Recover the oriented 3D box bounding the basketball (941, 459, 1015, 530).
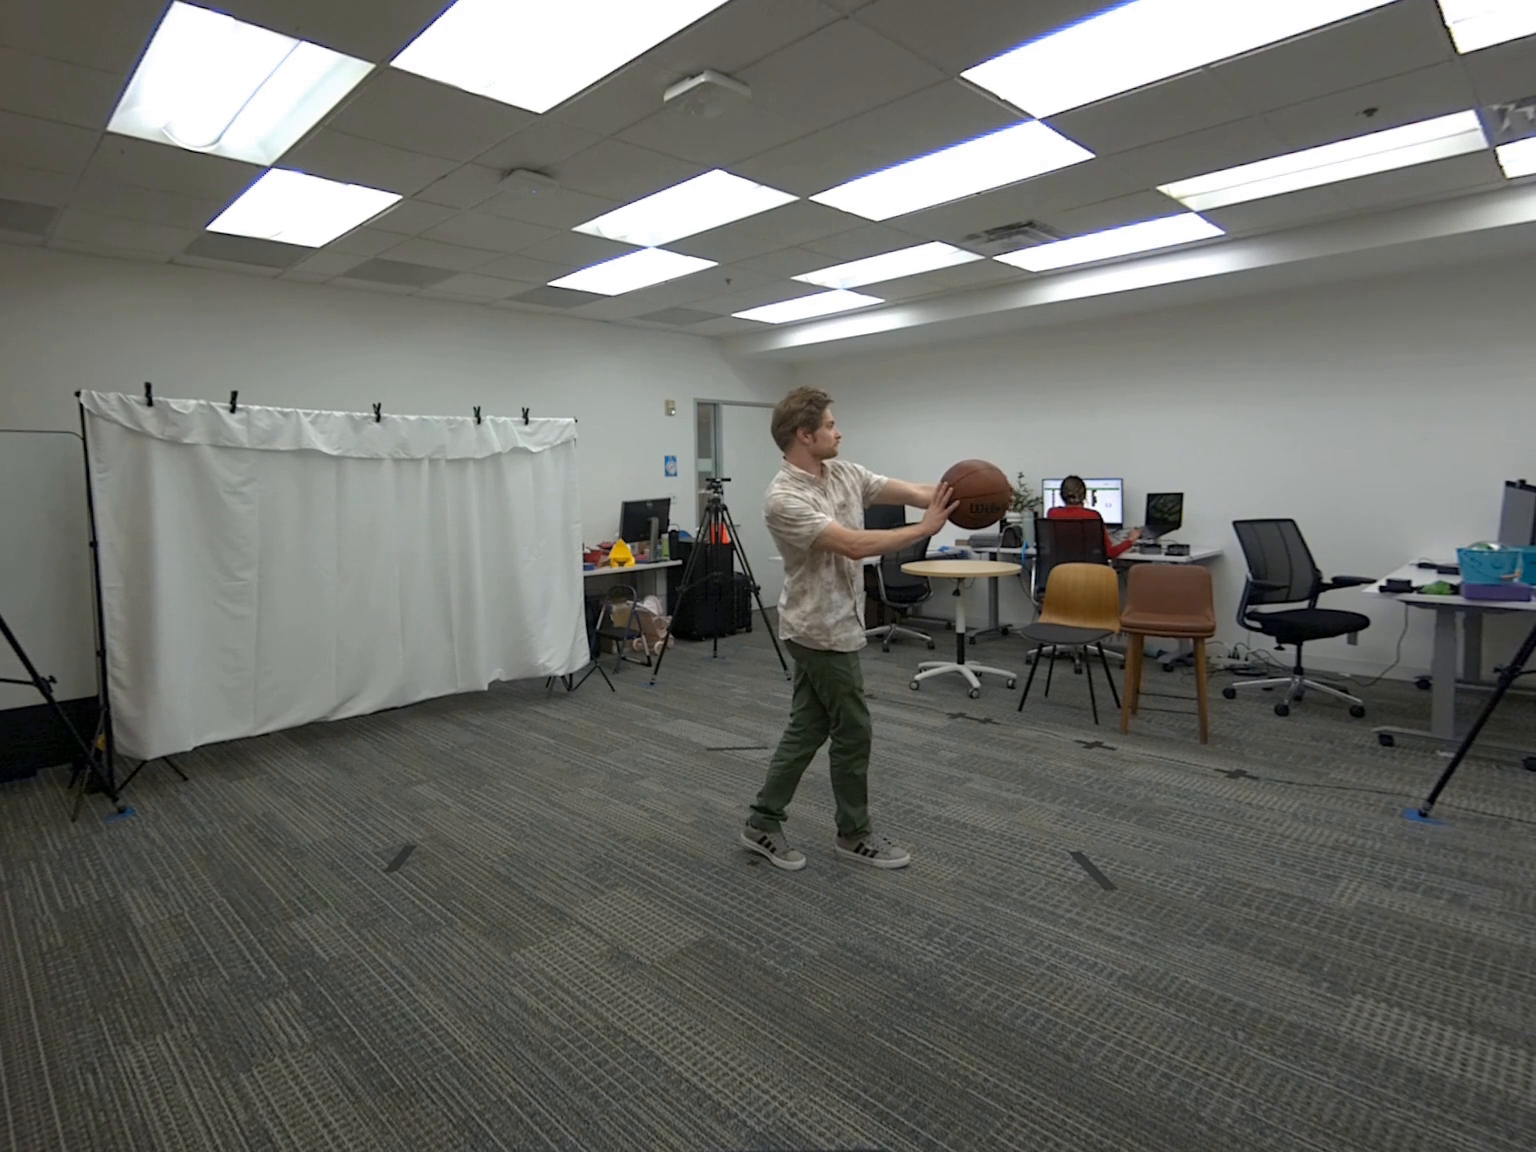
[{"bbox_3d":[0.696,-0.277,2.897,0.236,0.235,0.237,-1,5,-2],"label":"basketball"}]
